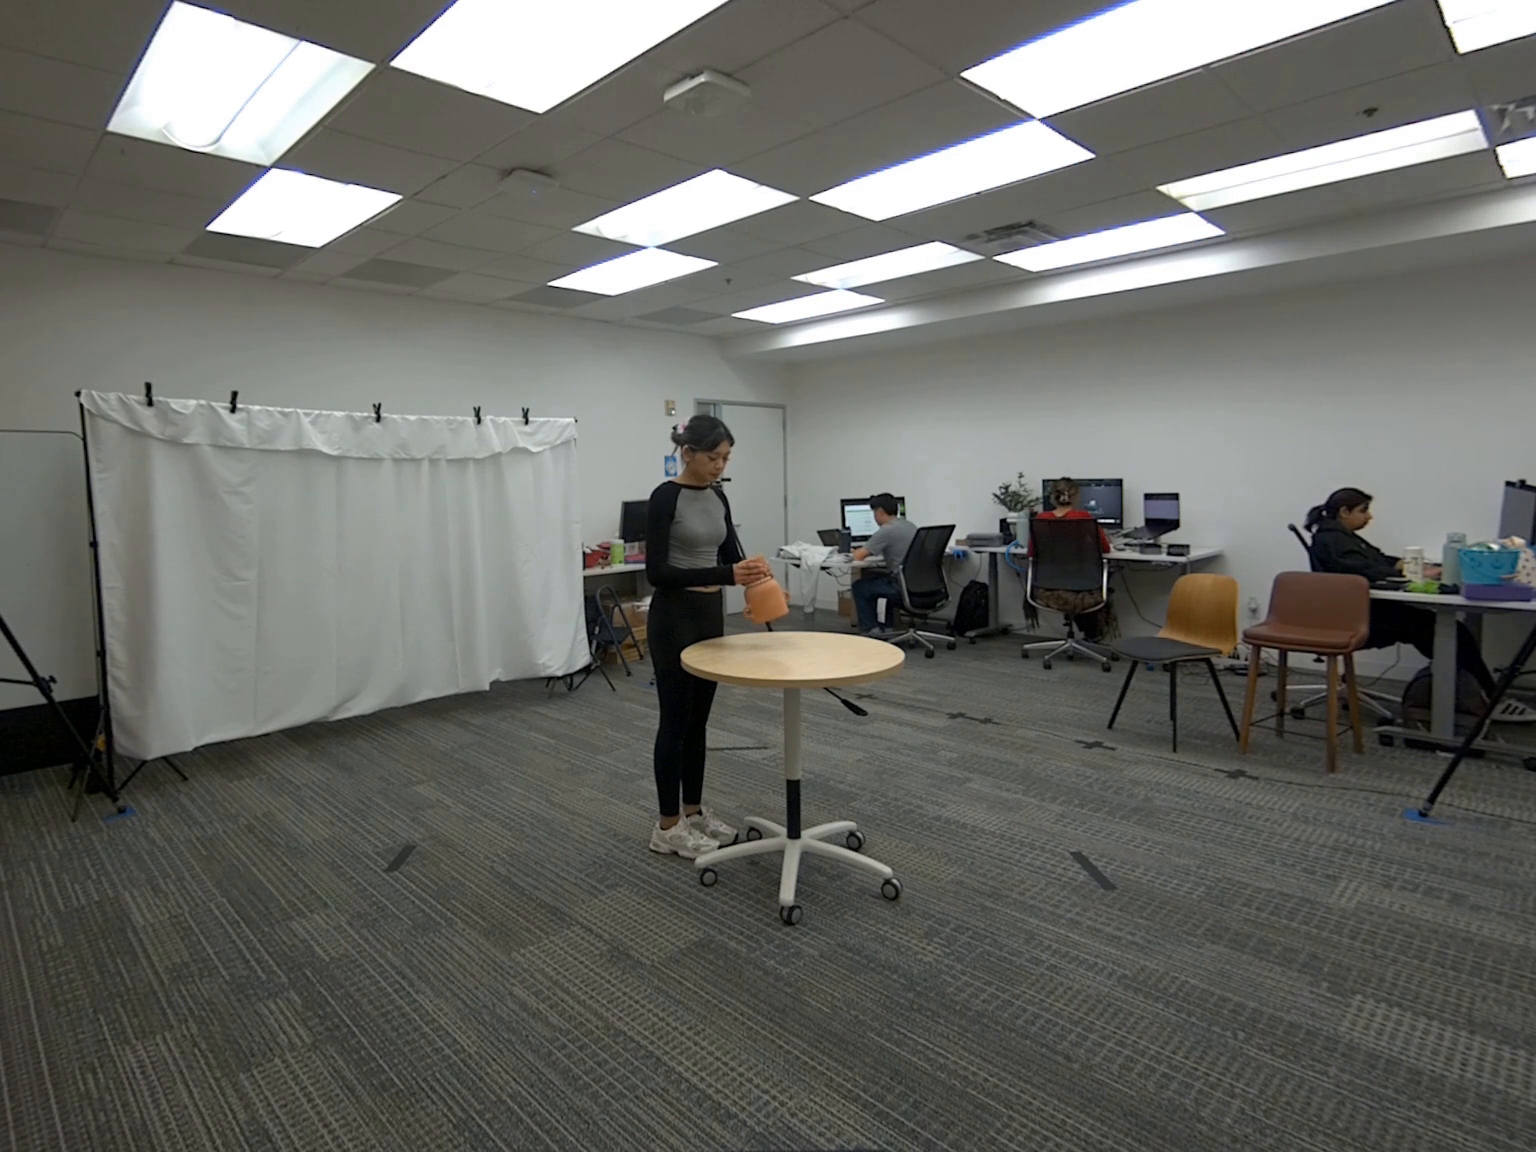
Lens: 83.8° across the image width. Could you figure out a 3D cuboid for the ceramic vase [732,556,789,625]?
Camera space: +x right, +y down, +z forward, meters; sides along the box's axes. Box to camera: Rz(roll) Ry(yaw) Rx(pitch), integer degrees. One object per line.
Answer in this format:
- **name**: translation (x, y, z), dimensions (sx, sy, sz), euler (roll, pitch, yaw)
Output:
- **ceramic vase**: translation (-0.028, 0.044, 3.019), dimensions (0.136, 0.219, 0.157), euler (-19, 2, 24)
